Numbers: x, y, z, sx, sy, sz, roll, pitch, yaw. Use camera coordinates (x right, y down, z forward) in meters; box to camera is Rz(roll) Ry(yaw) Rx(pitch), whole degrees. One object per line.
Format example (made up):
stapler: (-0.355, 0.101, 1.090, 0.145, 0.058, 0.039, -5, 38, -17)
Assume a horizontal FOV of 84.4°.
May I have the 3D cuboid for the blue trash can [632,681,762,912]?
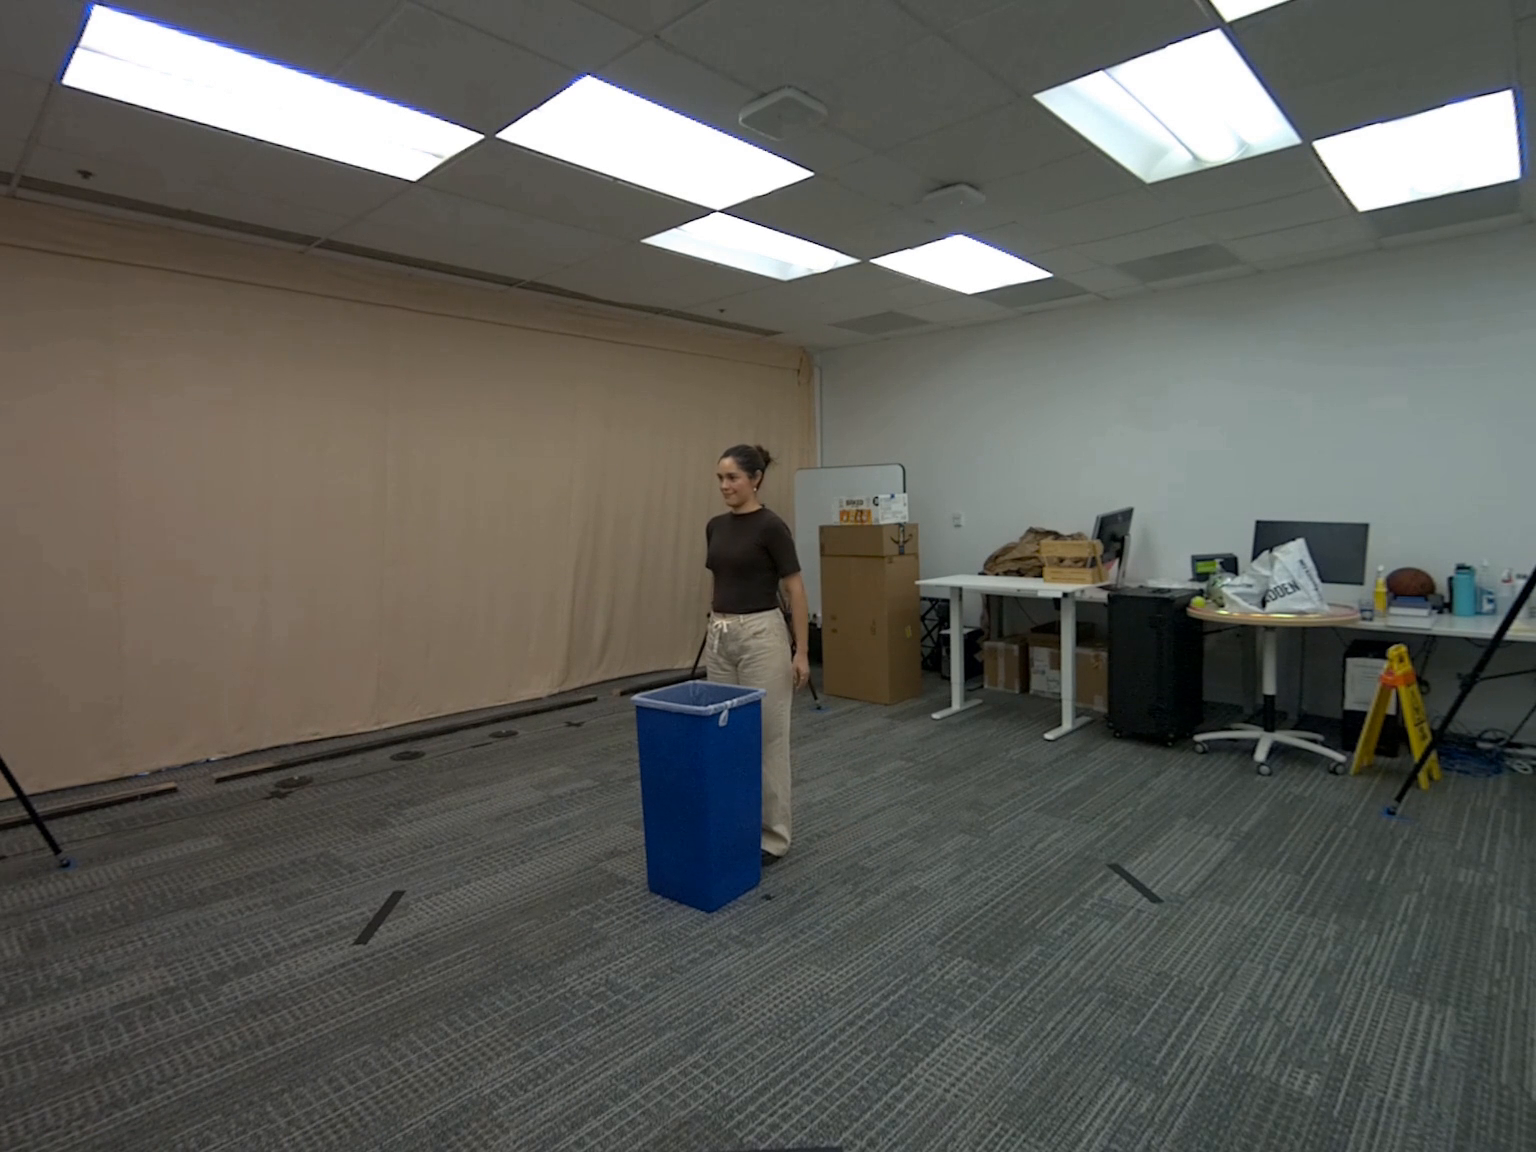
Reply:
blue trash can: (-0.242, 0.778, 3.068, 0.390, 0.712, 0.363, 1, 4, 37)
